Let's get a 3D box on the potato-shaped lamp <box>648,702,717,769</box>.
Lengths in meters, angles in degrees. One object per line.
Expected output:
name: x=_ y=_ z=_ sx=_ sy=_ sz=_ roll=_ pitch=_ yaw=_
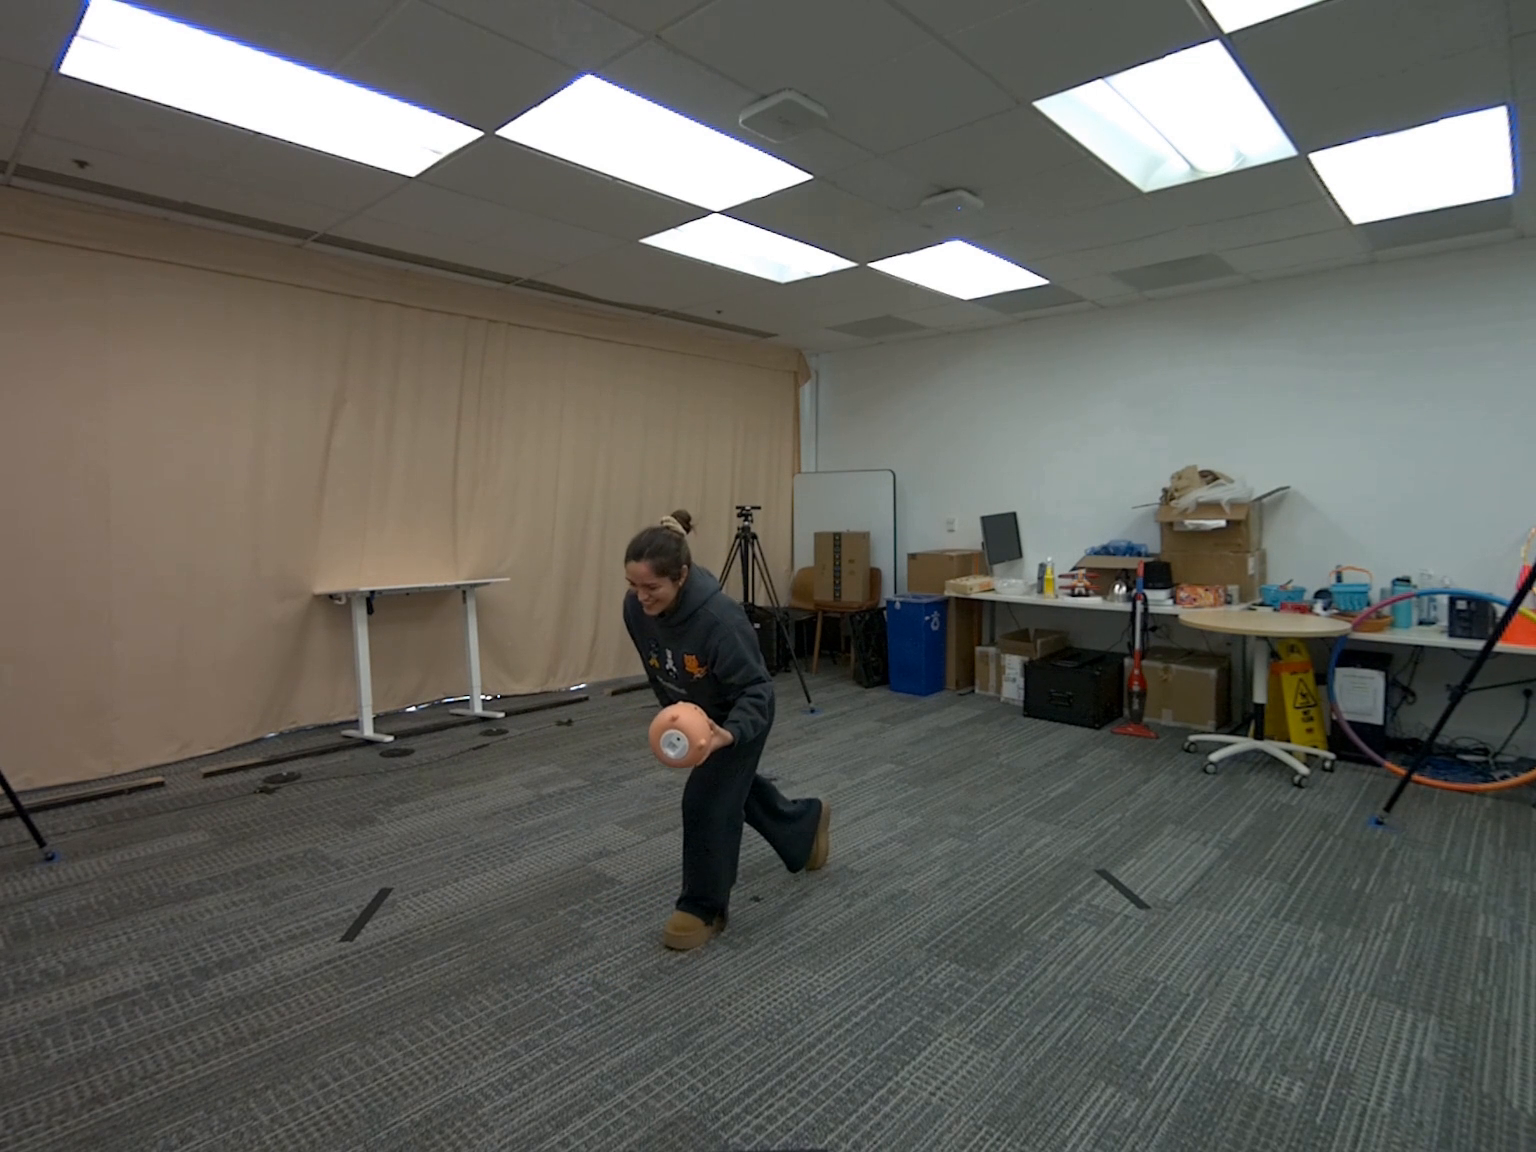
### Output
potato-shaped lamp: x=-0.218 y=0.418 z=2.277 sx=0.165 sy=0.172 sz=0.196 roll=43 pitch=19 yaw=3
